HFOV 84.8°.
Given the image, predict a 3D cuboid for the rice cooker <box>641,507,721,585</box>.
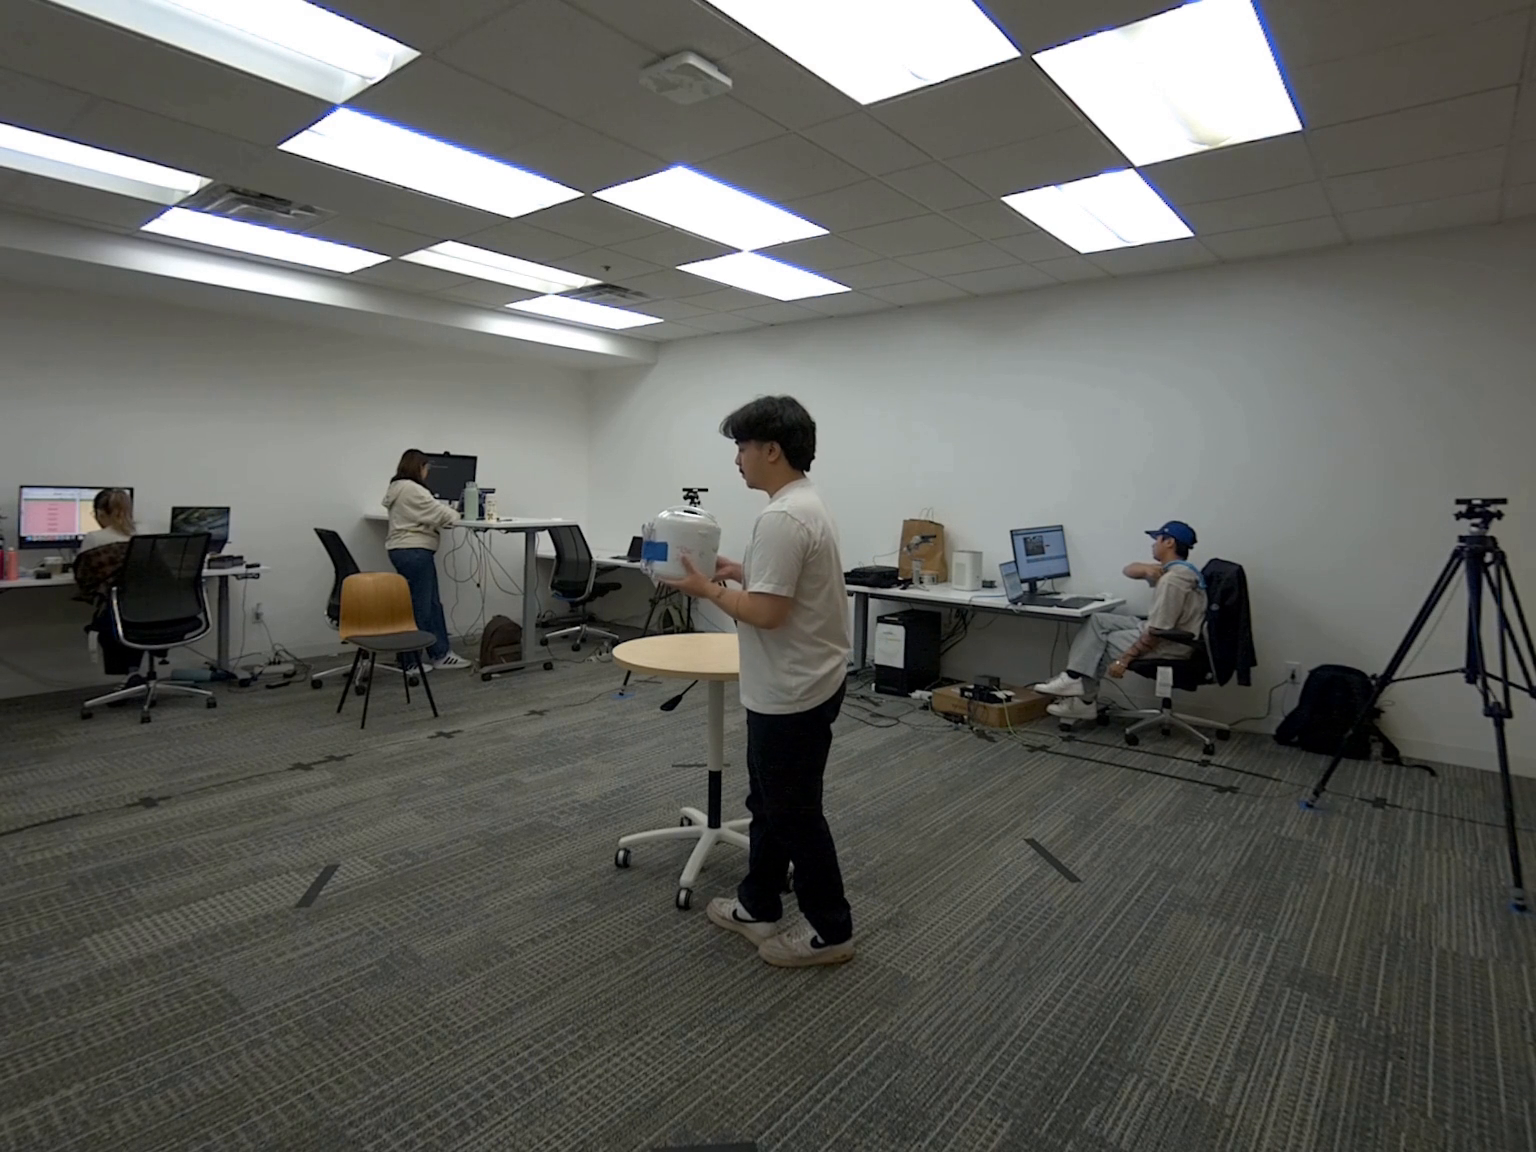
[{"bbox_3d":[-0.264,-0.102,2.615,0.226,0.232,0.213,11,5,20],"label":"rice cooker"}]
